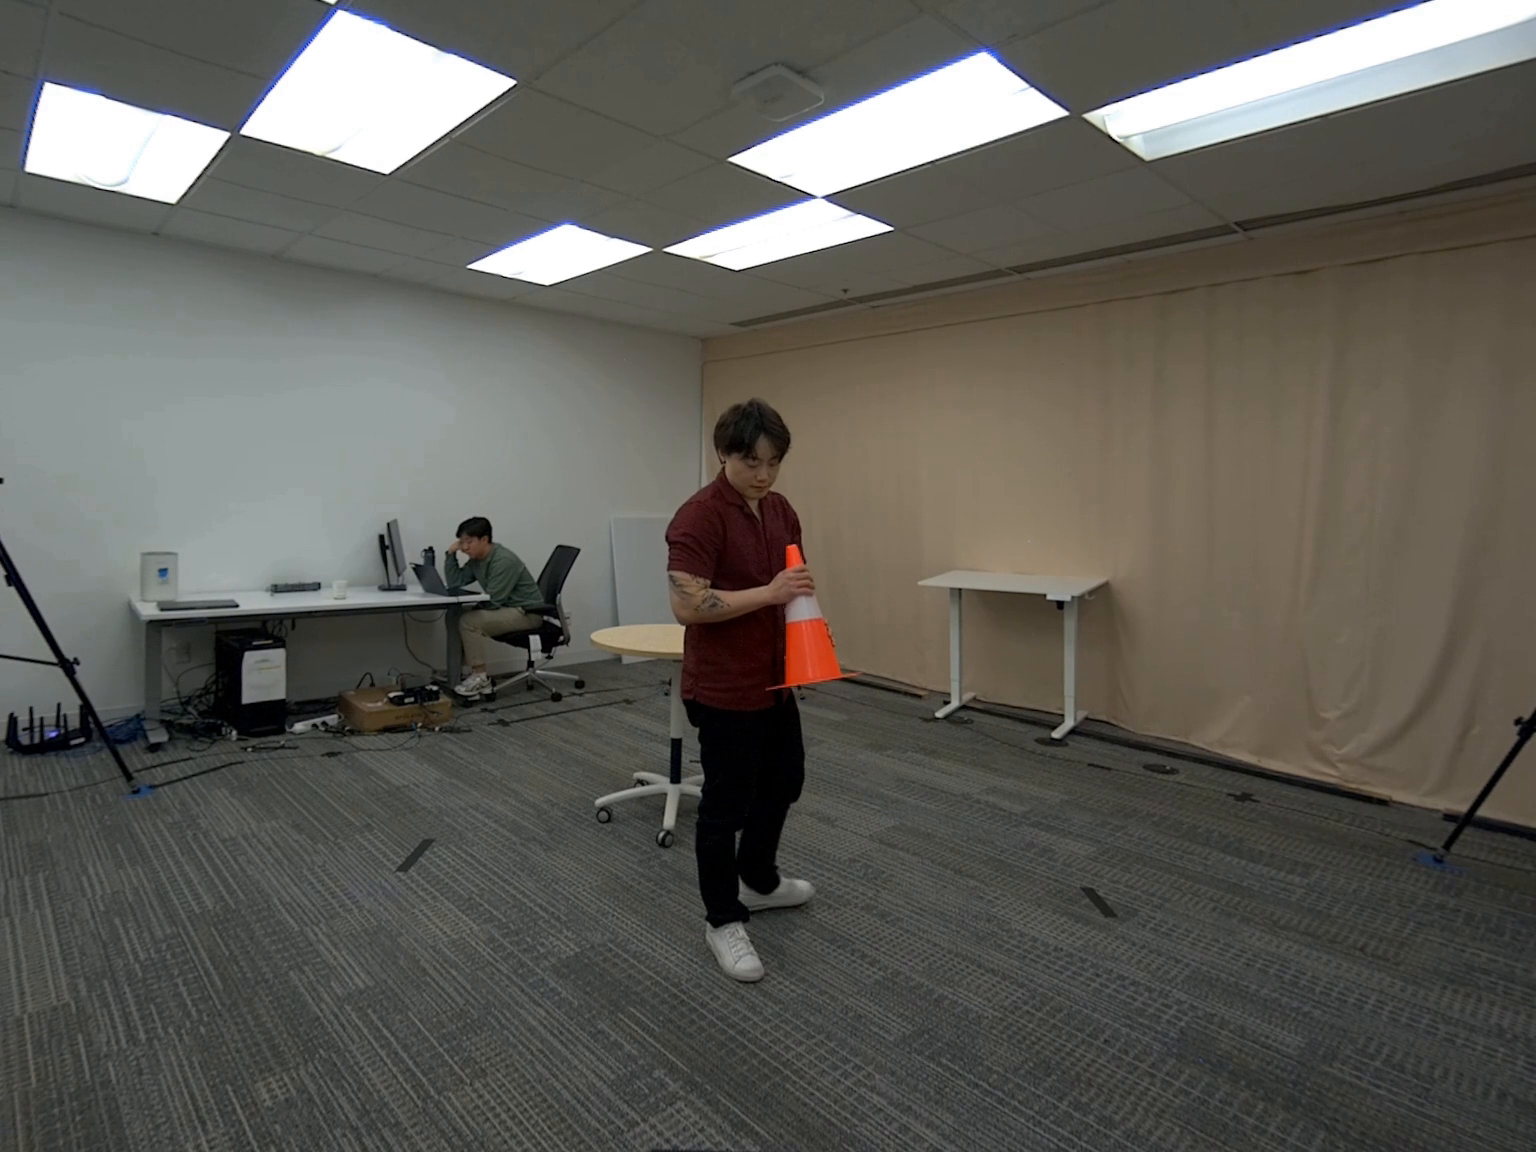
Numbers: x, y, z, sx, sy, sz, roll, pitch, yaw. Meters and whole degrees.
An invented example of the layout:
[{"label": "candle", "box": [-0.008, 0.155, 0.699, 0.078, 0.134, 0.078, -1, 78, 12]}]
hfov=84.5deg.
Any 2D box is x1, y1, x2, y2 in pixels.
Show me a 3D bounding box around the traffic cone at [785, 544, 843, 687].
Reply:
[{"label": "traffic cone", "box": [0.075, 0.102, 2.330, 0.208, 0.386, 0.199, -8, -8, 19]}]
